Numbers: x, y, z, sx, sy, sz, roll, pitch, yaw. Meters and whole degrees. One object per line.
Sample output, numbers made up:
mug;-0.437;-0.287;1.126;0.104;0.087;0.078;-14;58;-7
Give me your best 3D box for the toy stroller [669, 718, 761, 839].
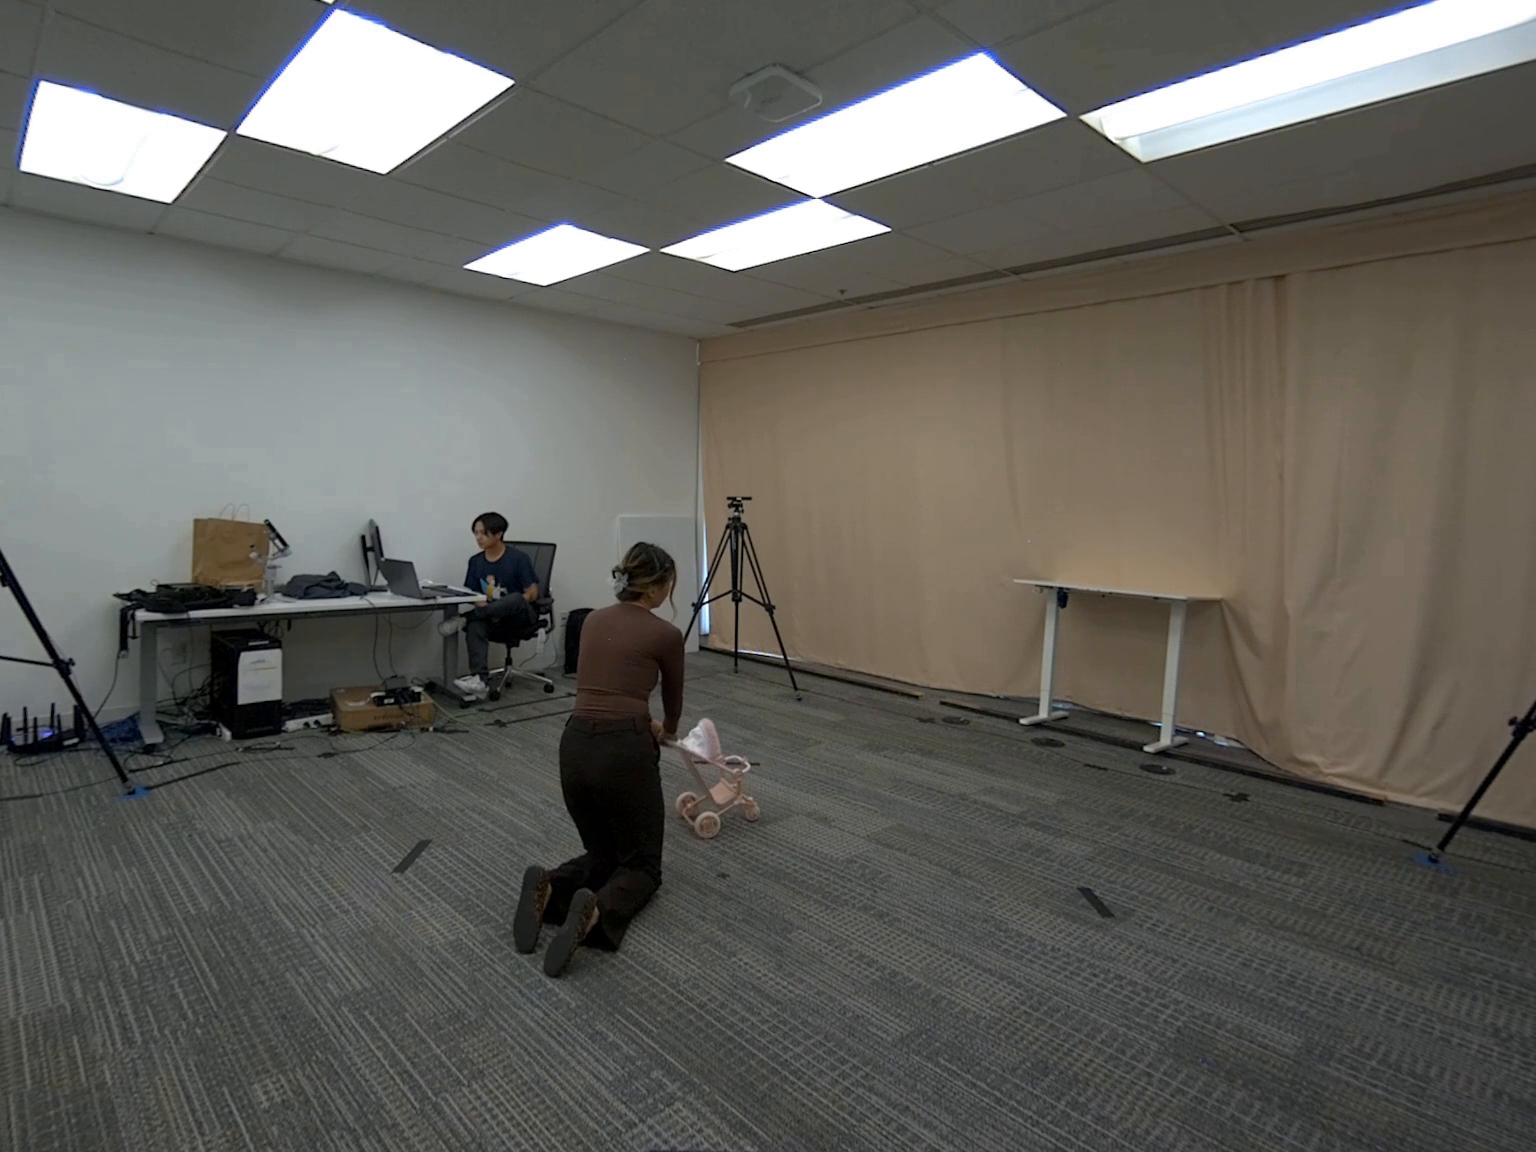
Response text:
toy stroller;-0.249;0.839;3.569;0.338;0.531;0.286;-18;9;-18
